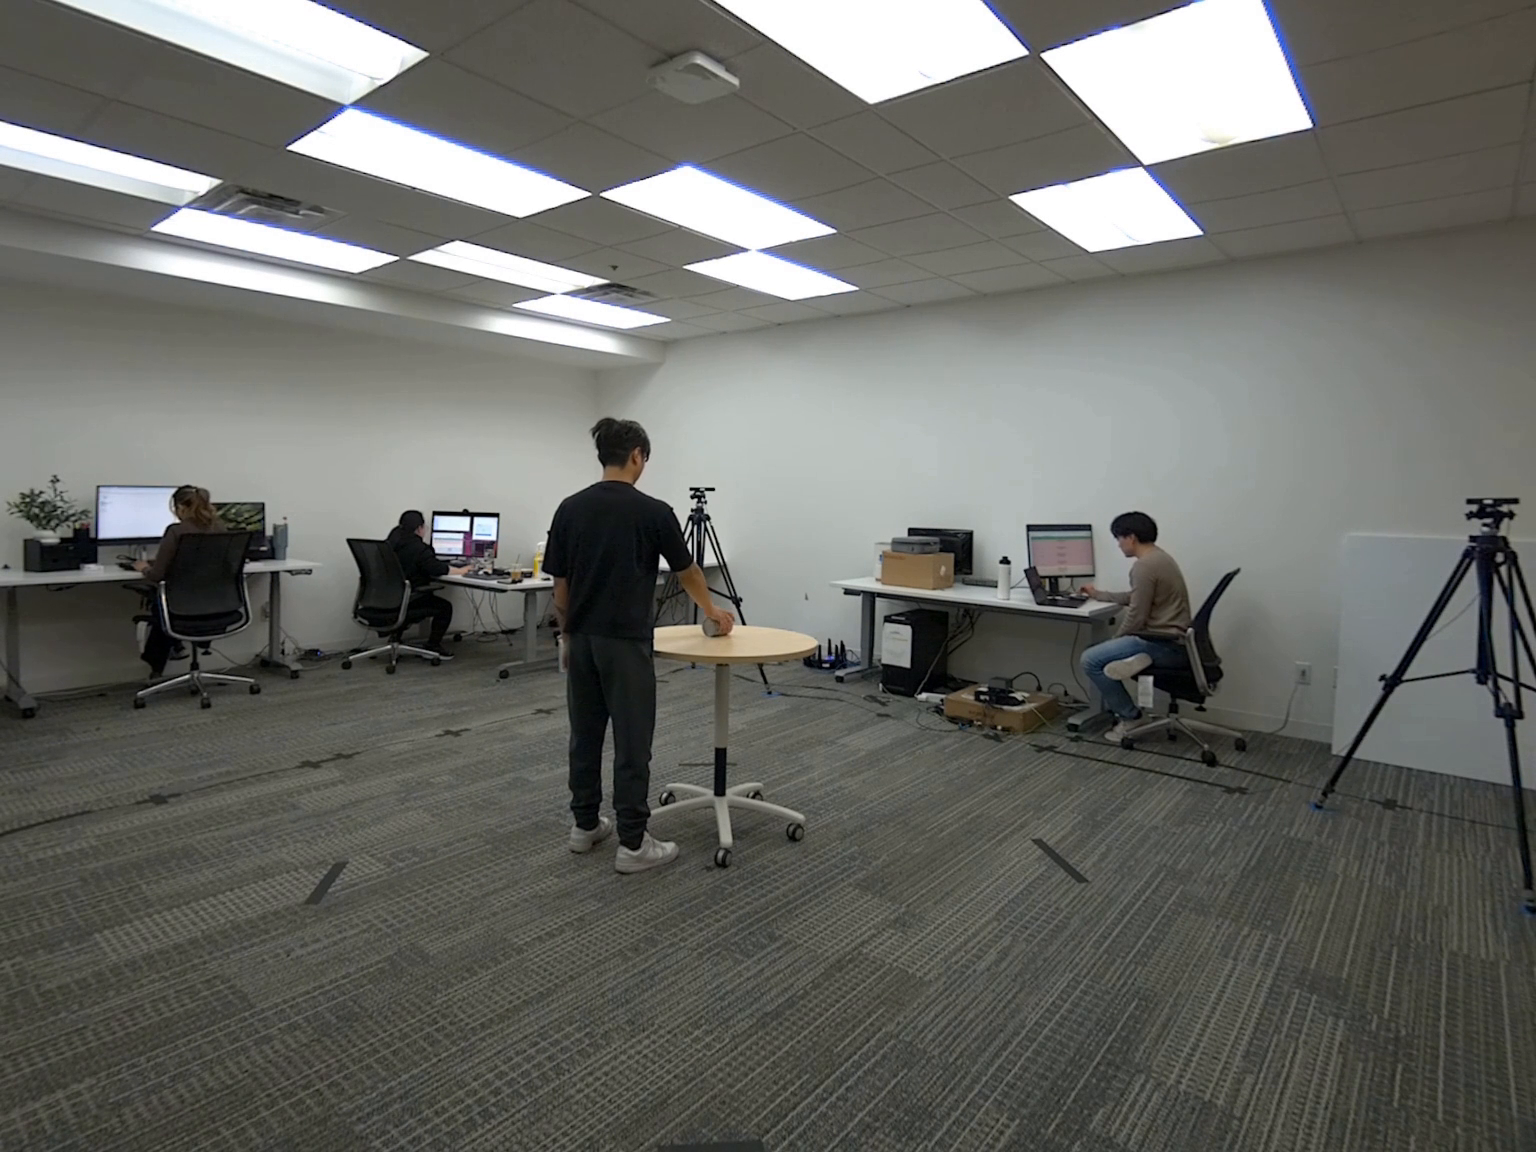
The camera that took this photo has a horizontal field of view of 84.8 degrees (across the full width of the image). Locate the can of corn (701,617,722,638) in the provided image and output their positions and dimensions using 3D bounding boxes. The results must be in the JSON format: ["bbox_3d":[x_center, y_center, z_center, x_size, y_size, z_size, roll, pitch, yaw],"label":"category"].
[{"bbox_3d":[-0.224,0.205,3.543,0.108,0.074,0.076,-1,4,-30],"label":"can of corn"}]
